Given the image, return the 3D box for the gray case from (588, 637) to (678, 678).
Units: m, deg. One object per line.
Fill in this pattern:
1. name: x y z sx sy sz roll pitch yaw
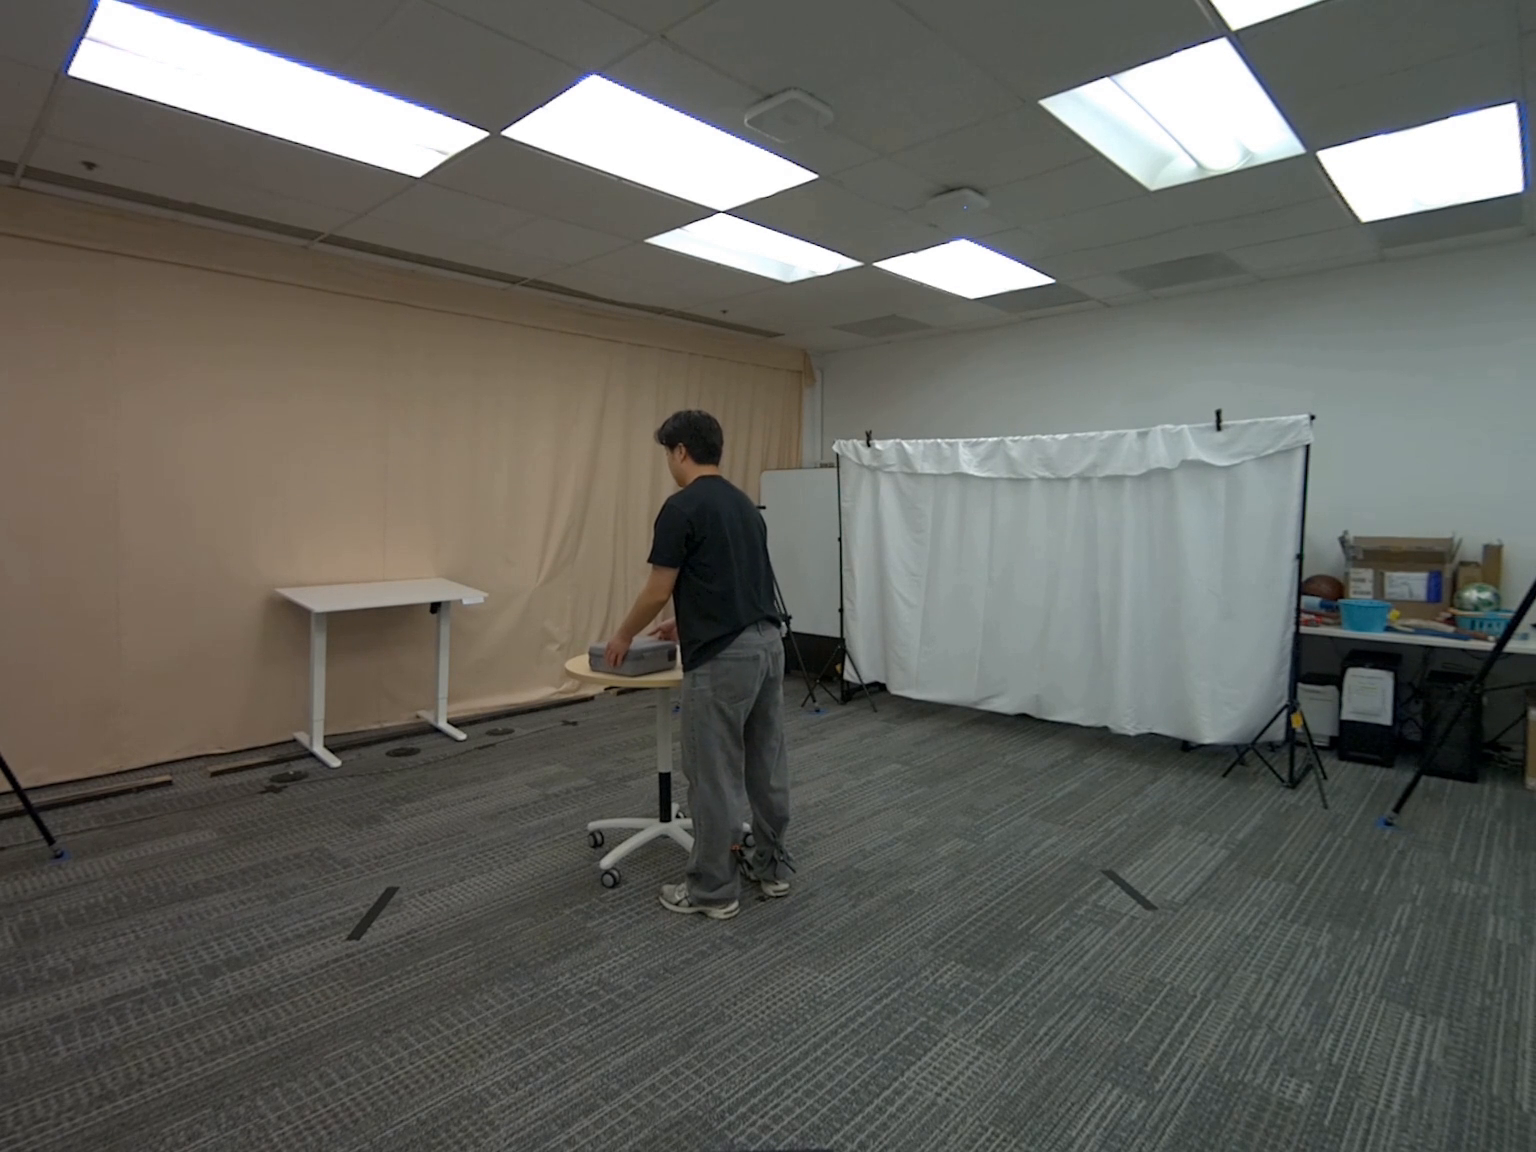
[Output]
1. gray case: -0.520 0.302 3.164 0.296 0.103 0.255 1 4 40
